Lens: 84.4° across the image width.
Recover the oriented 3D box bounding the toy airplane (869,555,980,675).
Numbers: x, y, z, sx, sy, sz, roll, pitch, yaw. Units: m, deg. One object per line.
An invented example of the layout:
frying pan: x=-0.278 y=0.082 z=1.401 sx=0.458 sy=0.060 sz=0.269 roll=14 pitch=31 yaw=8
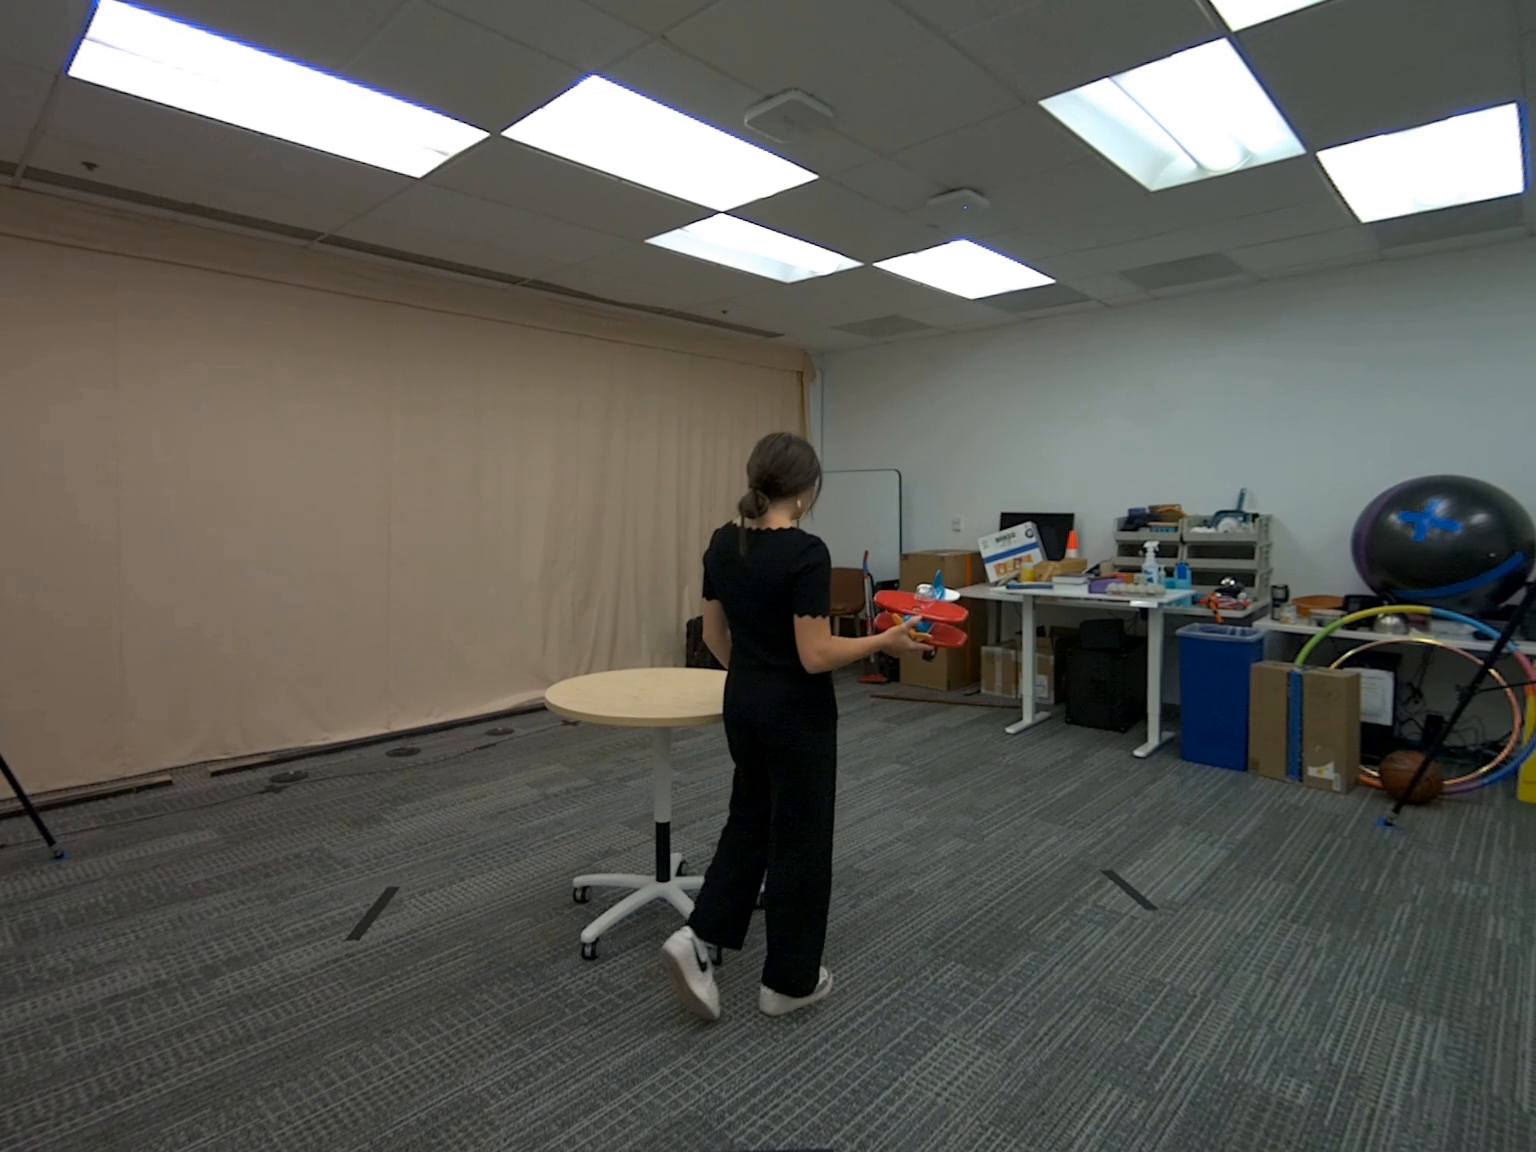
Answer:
toy airplane: x=0.424 y=0.105 z=2.326 sx=0.254 sy=0.152 sz=0.263 roll=-8 pitch=43 yaw=10
